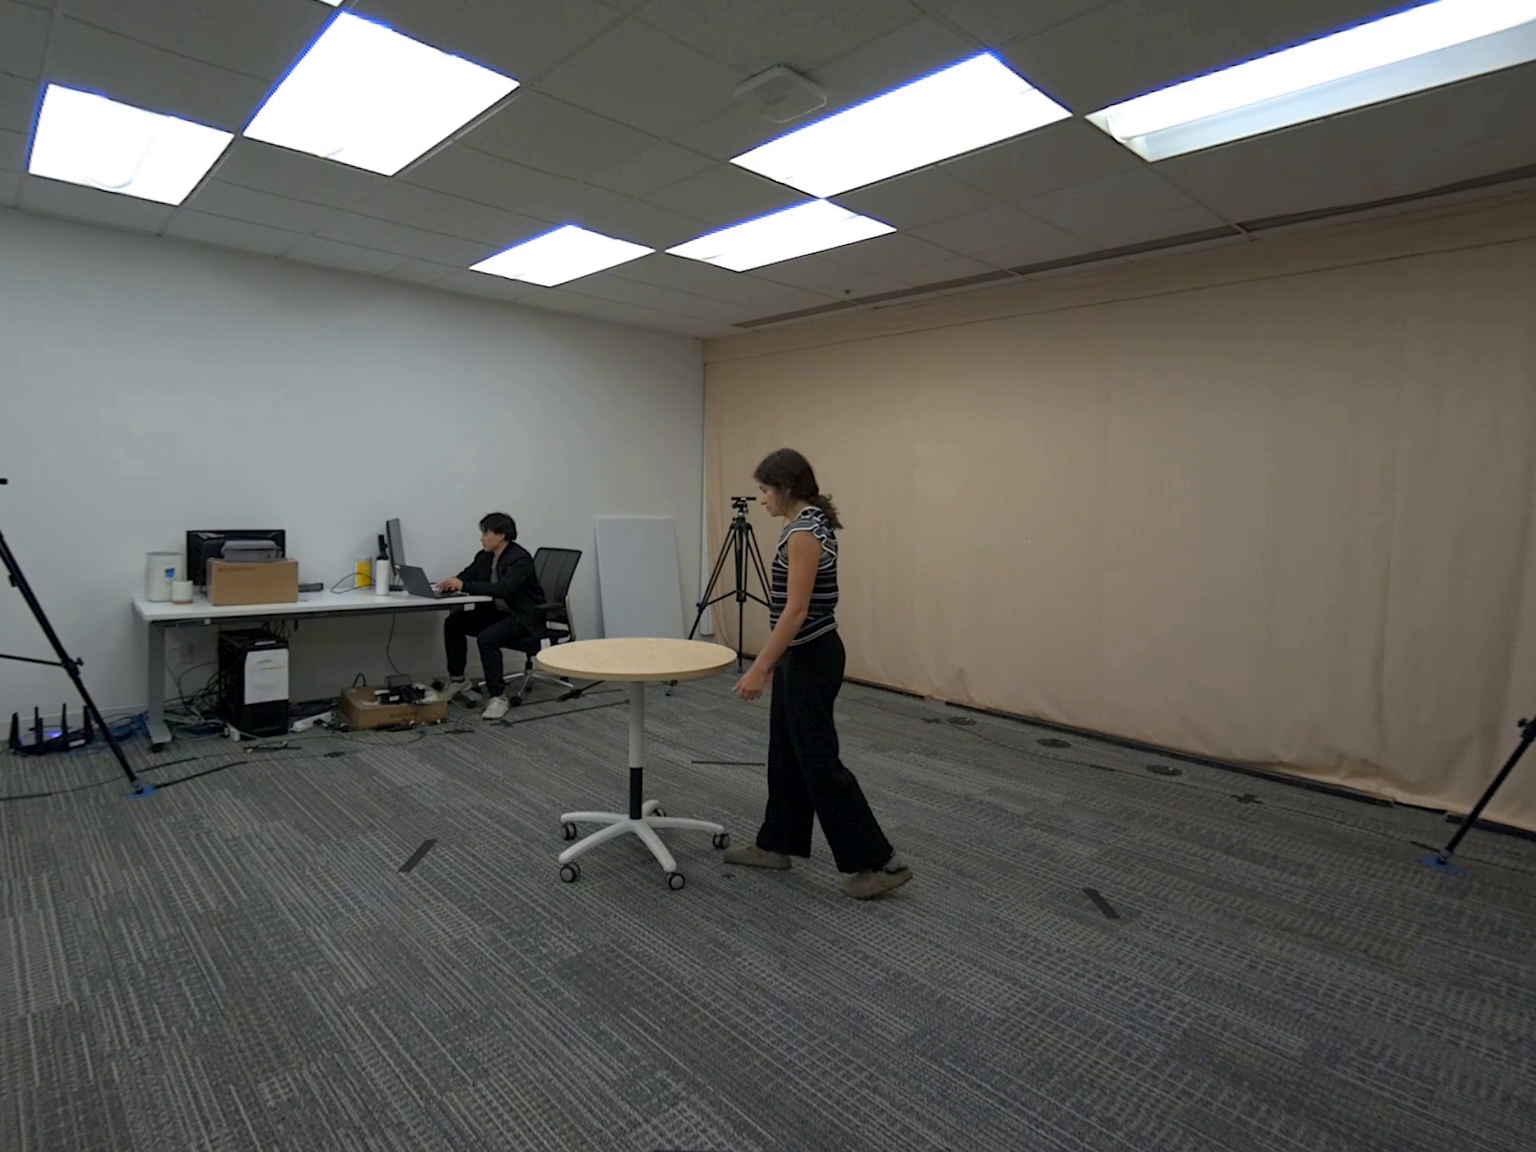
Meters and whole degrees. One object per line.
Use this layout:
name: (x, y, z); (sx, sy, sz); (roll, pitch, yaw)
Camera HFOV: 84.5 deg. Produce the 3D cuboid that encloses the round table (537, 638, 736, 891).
round table: (-0.508, 0.692, 3.268); (0.763, 0.792, 0.766); (1, 4, -1)
